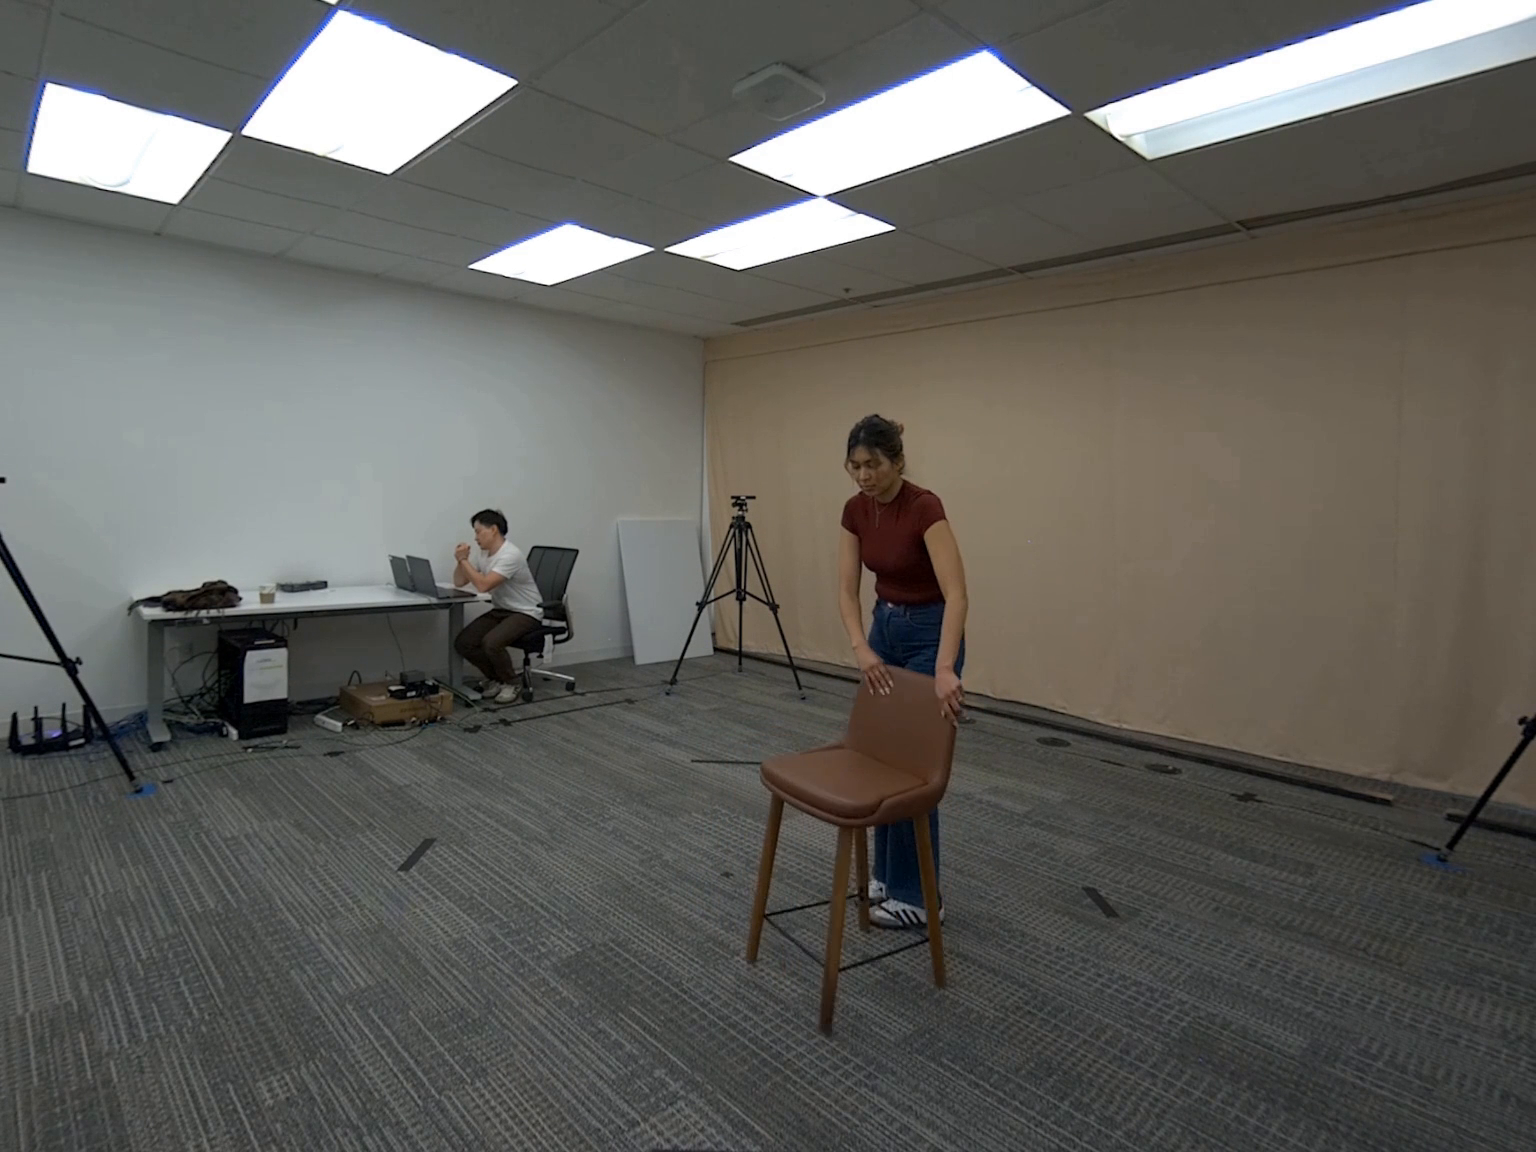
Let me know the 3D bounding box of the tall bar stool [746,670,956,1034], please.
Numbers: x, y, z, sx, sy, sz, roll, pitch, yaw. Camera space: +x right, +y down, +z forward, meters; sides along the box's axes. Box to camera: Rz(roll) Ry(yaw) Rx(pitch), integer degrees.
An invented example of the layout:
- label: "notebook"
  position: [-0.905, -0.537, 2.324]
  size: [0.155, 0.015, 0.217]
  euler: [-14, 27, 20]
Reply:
- label: "tall bar stool"
  position: [0.241, 0.738, 2.444]
  size: [0.457, 0.888, 0.467]
  euler: [2, 4, -32]
